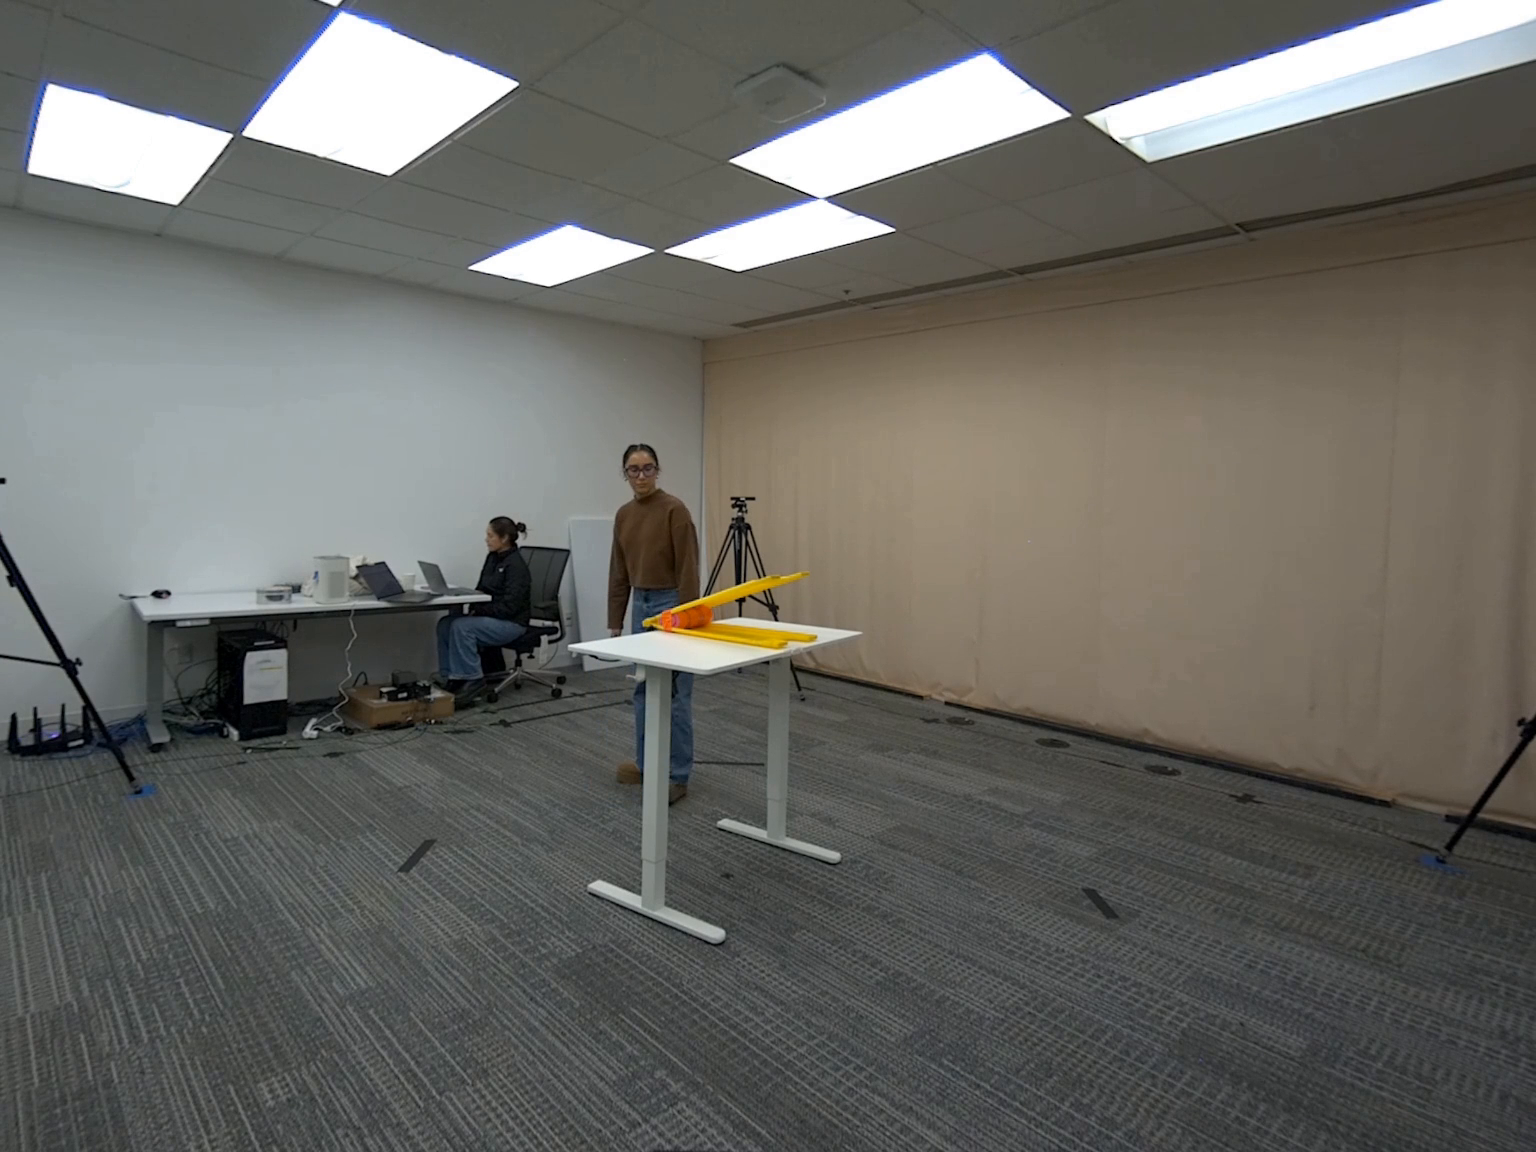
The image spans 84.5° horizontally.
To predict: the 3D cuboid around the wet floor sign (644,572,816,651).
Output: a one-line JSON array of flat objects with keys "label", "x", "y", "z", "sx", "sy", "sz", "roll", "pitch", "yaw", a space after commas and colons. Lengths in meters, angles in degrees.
[{"label": "wet floor sign", "x": -0.182, "y": 0.151, "z": 3.161, "sx": 0.659, "sy": 0.290, "sz": 0.276, "roll": -5, "pitch": 0, "yaw": 34}]
